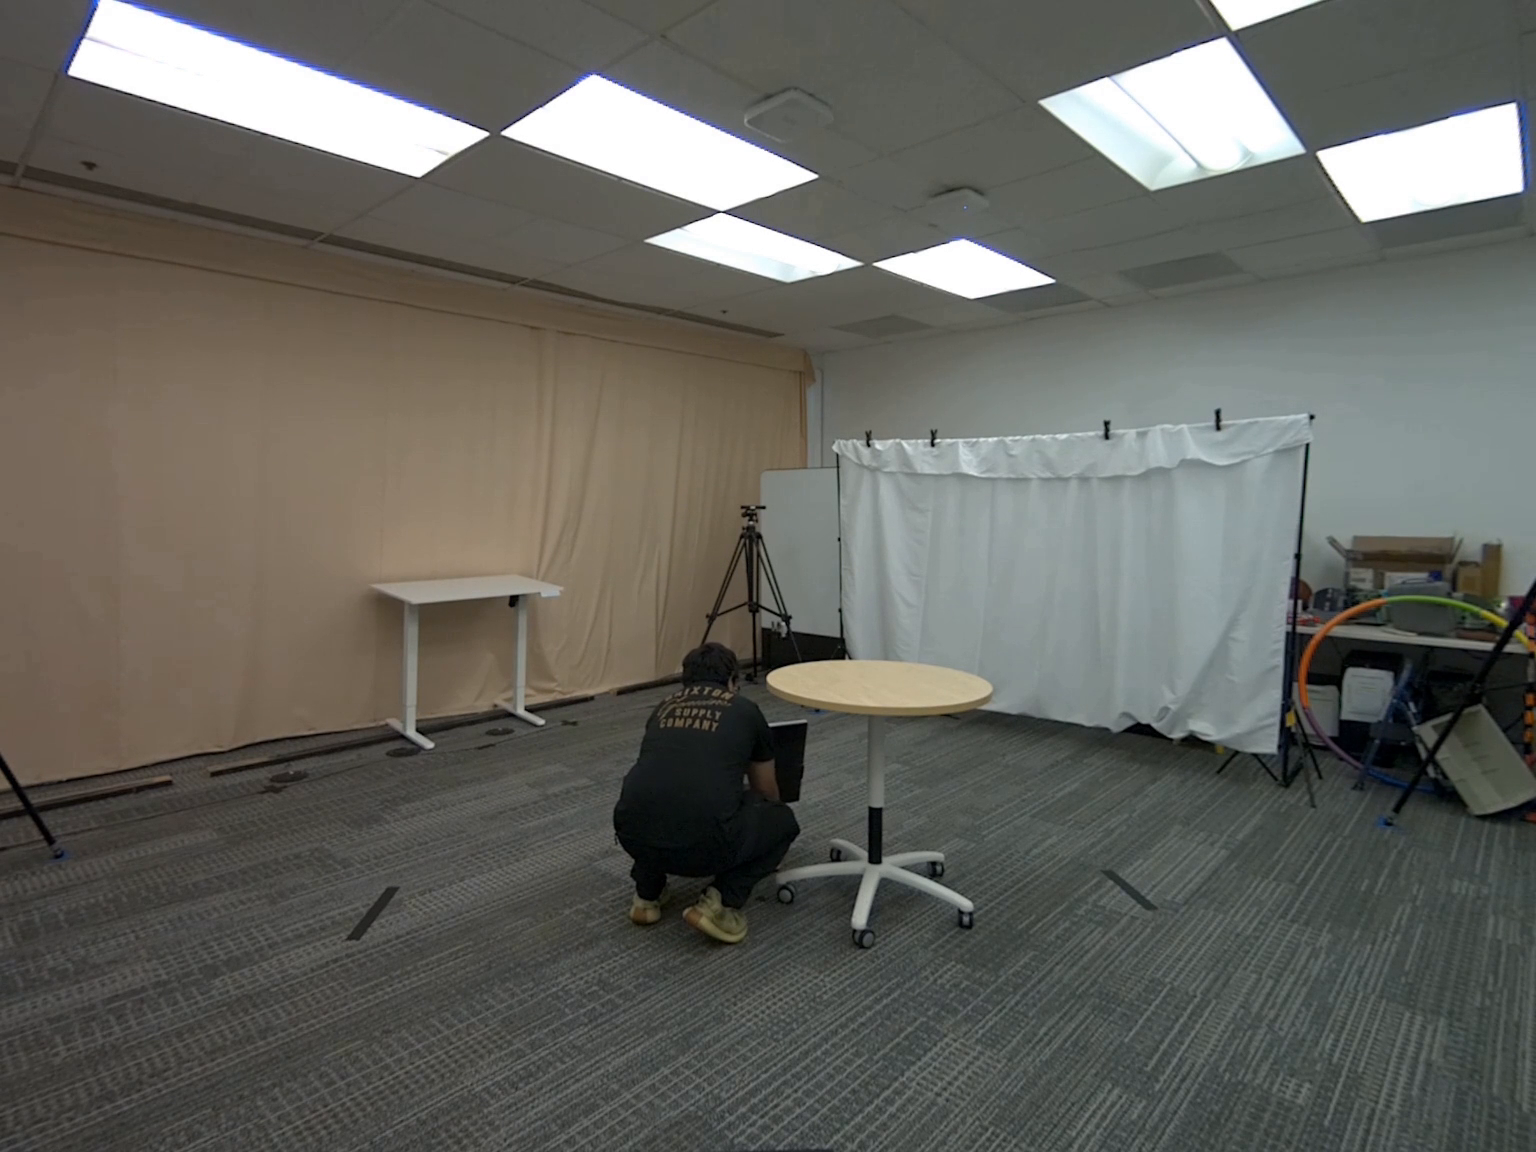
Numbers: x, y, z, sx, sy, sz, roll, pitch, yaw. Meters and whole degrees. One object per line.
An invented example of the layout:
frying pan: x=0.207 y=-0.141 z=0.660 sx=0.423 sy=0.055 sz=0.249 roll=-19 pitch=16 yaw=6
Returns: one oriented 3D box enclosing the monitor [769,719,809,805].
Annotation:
monitor: x=-0.091 y=0.851 z=3.225 sx=0.554 sy=0.551 sz=0.216 roll=-2 pitch=10 yaw=-21
